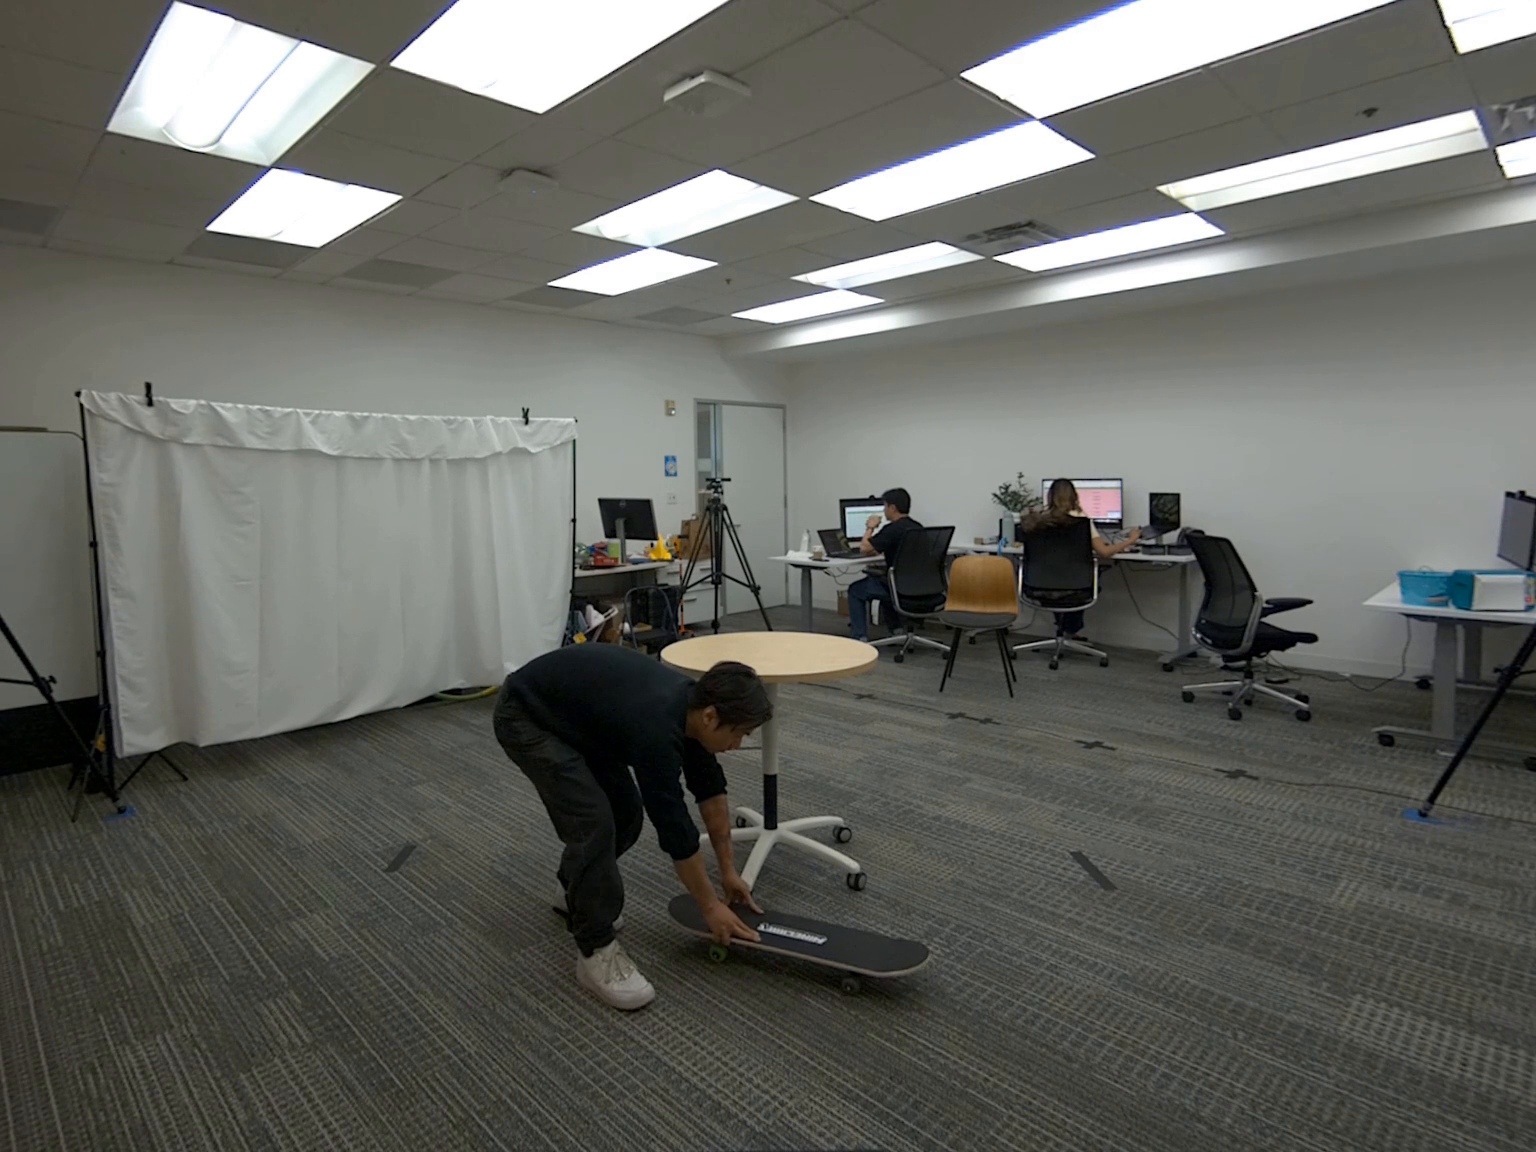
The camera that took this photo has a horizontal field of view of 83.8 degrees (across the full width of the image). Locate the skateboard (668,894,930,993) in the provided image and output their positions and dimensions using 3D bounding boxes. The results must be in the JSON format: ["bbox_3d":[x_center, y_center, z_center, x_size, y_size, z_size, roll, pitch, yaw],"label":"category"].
[{"bbox_3d":[0.069,1.056,2.455,0.803,0.110,0.190,2,7,23],"label":"skateboard"}]
